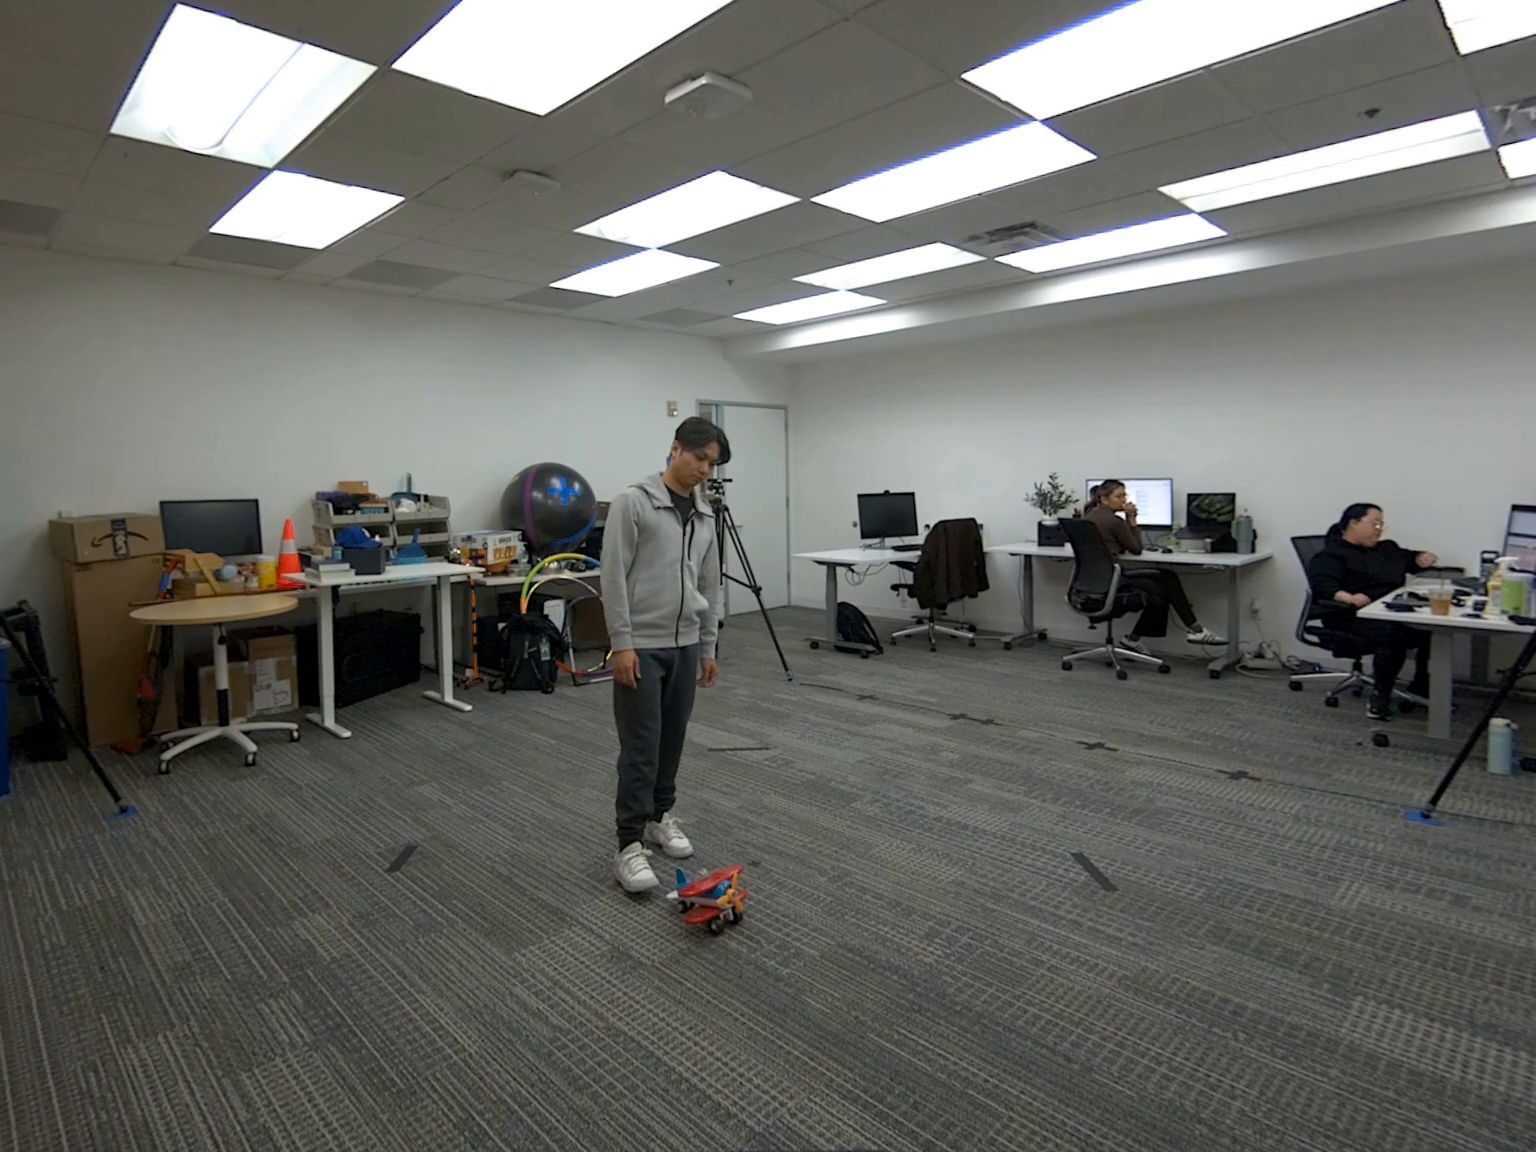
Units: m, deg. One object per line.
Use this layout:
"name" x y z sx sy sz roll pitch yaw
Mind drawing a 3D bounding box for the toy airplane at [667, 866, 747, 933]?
"toy airplane" -0.204 1.022 2.698 0.263 0.156 0.248 2 6 15
